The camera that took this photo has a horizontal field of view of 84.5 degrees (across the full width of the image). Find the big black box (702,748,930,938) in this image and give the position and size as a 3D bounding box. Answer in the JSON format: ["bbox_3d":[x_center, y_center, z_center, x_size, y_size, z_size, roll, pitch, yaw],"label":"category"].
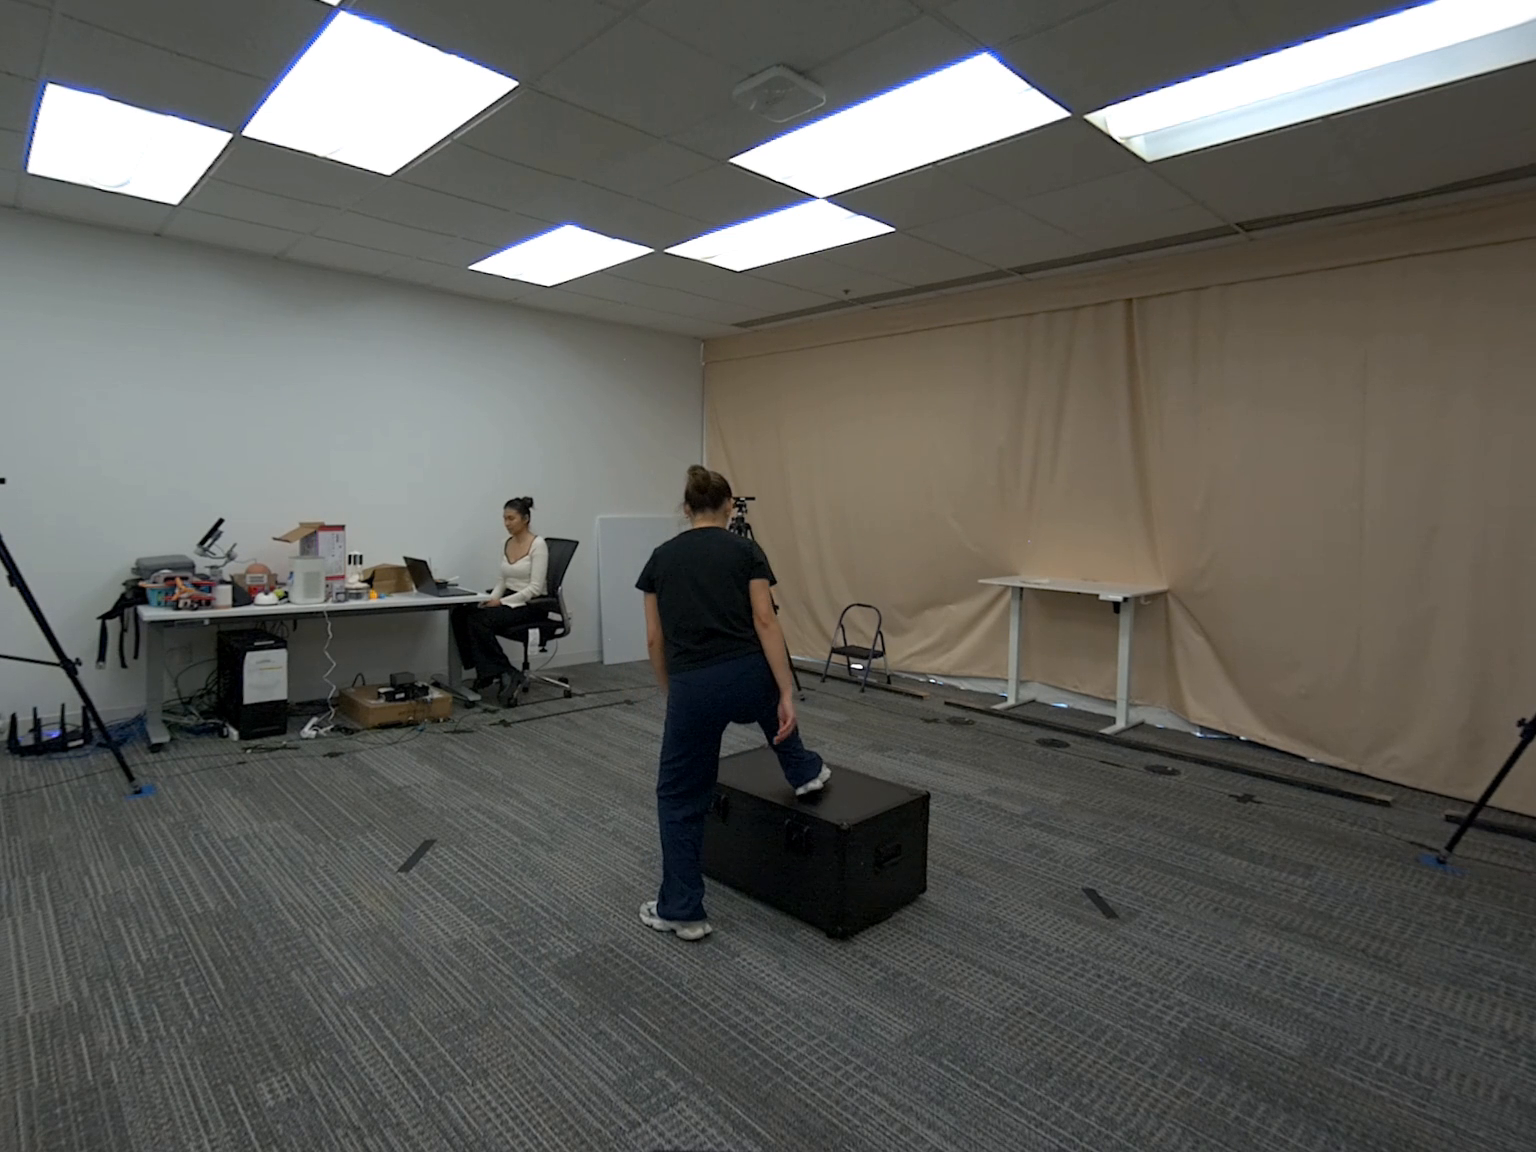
[{"bbox_3d":[0.091,0.925,3.074,0.884,0.395,0.509,6,7,43],"label":"big black box"}]
